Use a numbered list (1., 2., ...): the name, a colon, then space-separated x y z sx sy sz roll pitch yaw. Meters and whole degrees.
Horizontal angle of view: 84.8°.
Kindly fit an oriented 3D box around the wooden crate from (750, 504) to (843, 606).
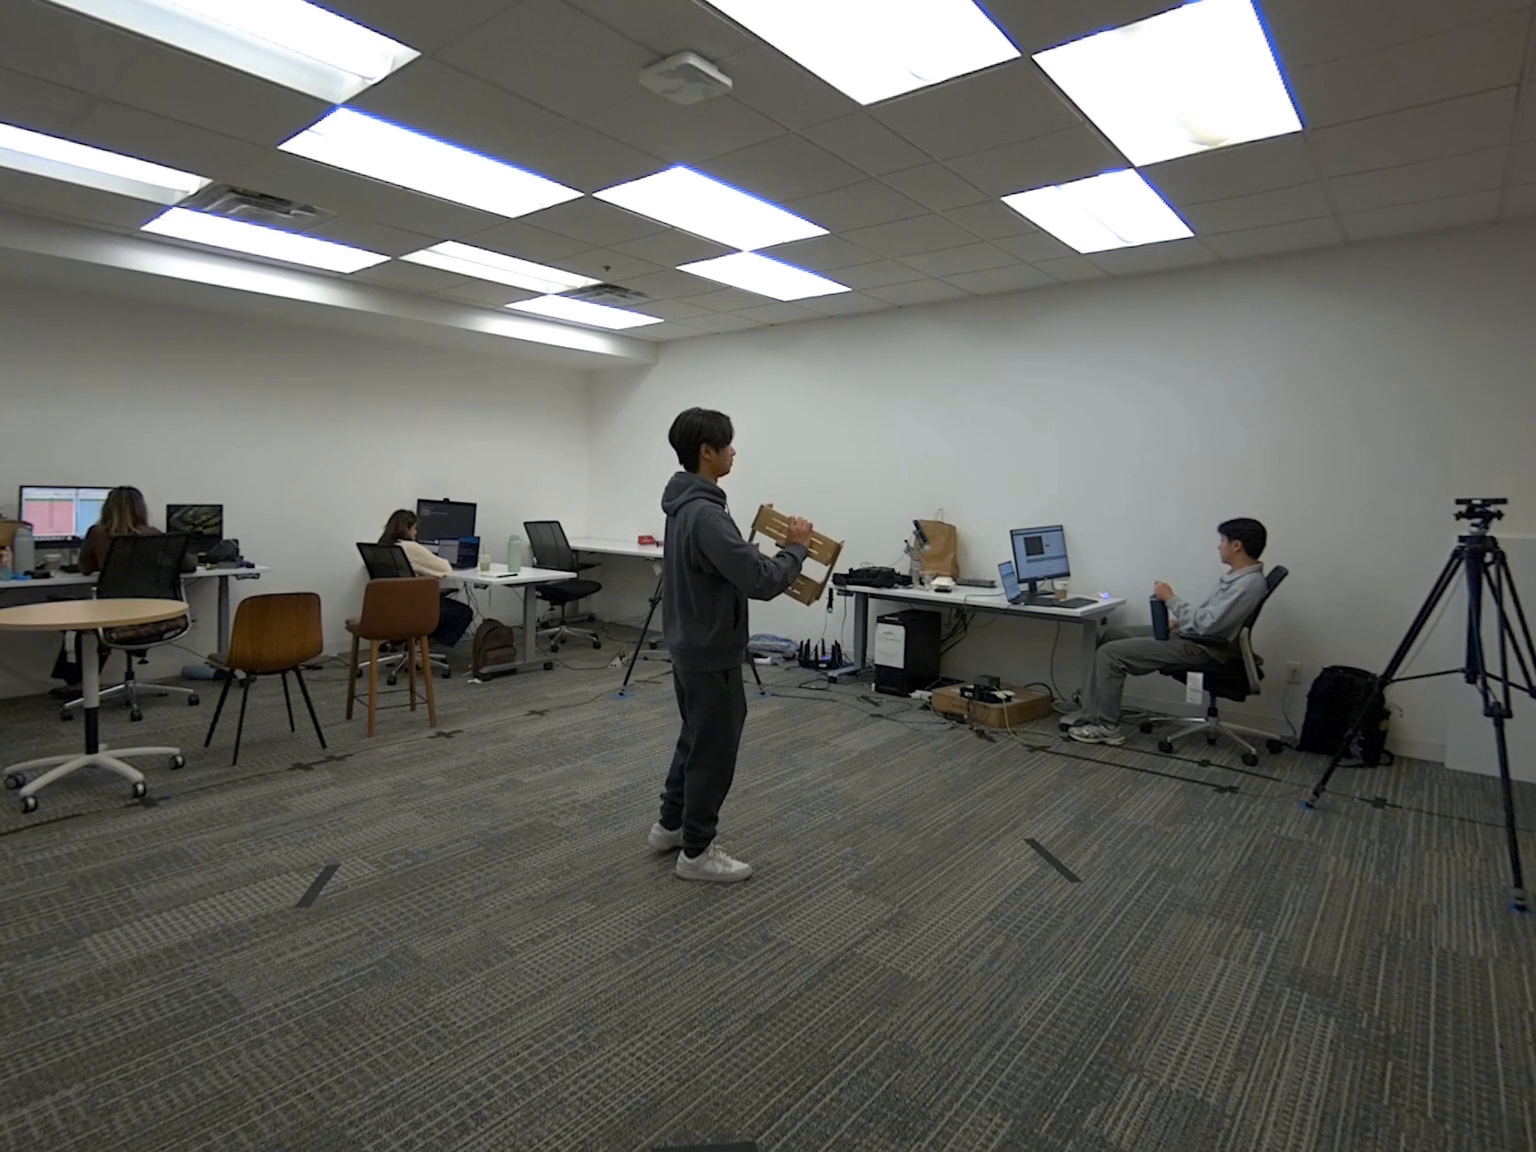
1. wooden crate: 0.084 -0.093 3.119 0.330 0.272 0.299 28 13 10
